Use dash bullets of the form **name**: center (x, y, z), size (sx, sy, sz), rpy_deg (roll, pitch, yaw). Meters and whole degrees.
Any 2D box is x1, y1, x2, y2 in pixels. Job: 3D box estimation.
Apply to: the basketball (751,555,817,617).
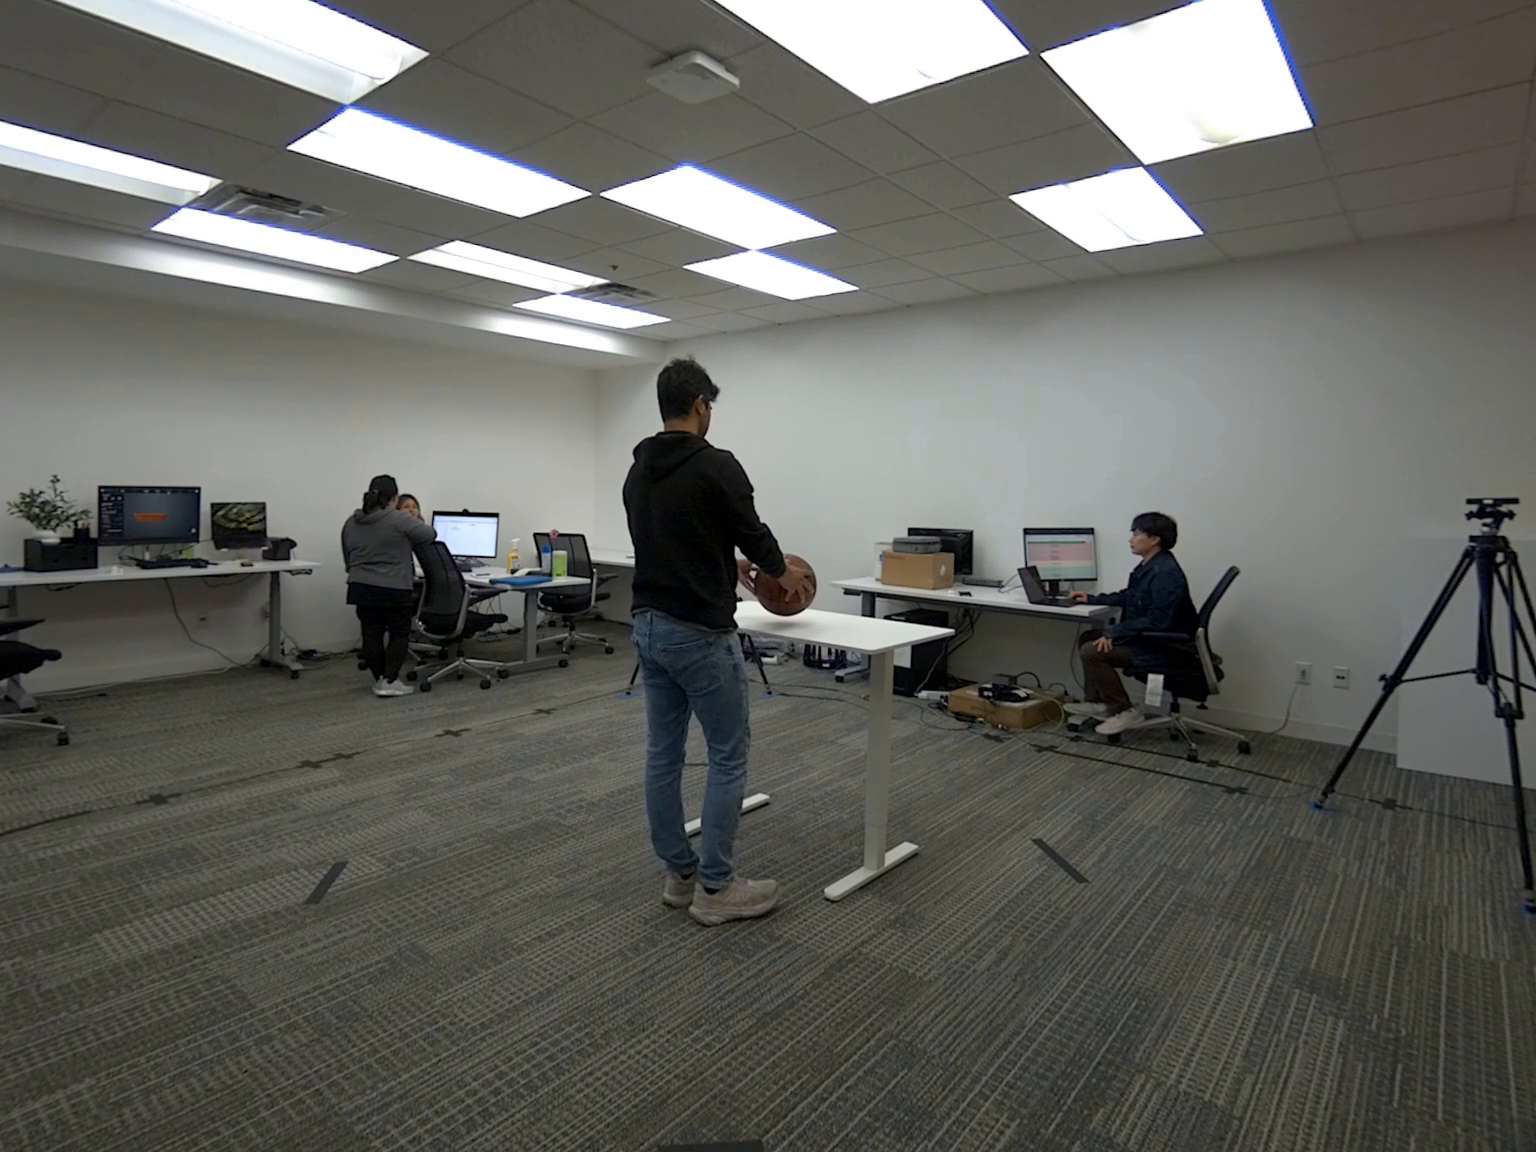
- **basketball**: center (0.049, 0.030, 3.221), size (0.235, 0.235, 0.237), rpy_deg (1, 4, -2)
